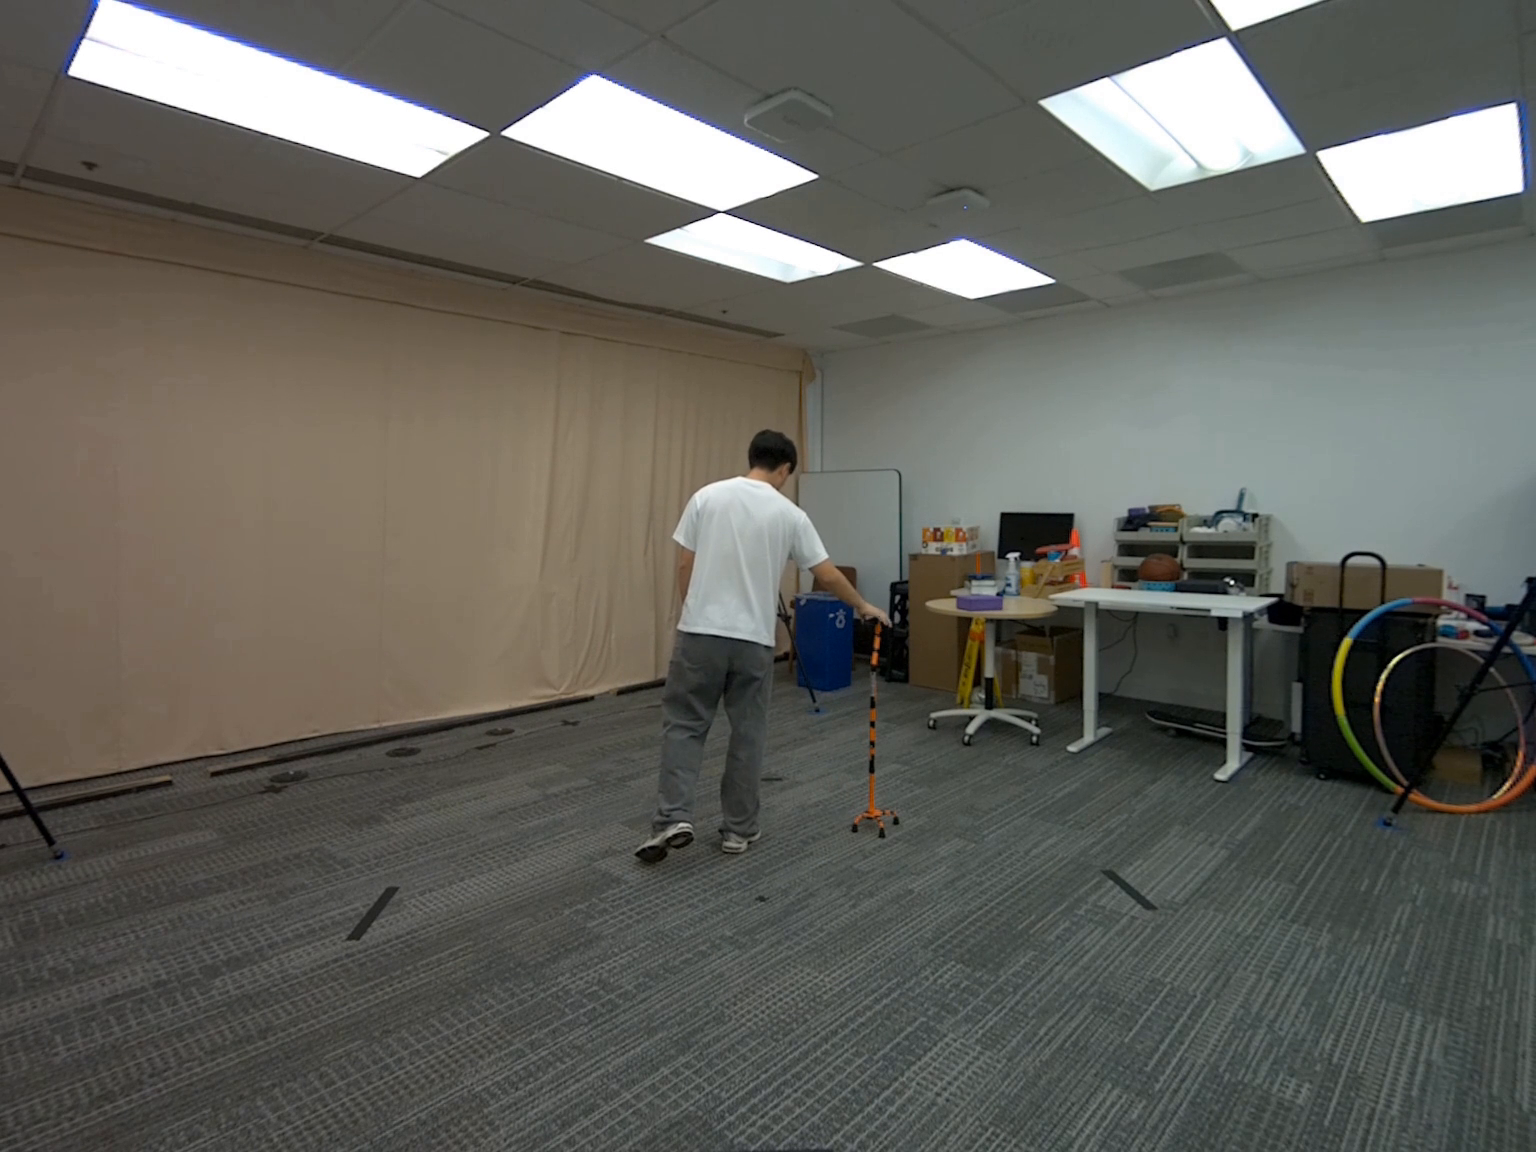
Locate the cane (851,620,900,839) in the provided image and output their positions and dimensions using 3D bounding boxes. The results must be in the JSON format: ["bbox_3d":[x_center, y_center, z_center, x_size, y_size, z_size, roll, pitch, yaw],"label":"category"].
[{"bbox_3d":[0.481,0.636,3.619,0.156,0.906,0.201,2,3,29],"label":"cane"}]
